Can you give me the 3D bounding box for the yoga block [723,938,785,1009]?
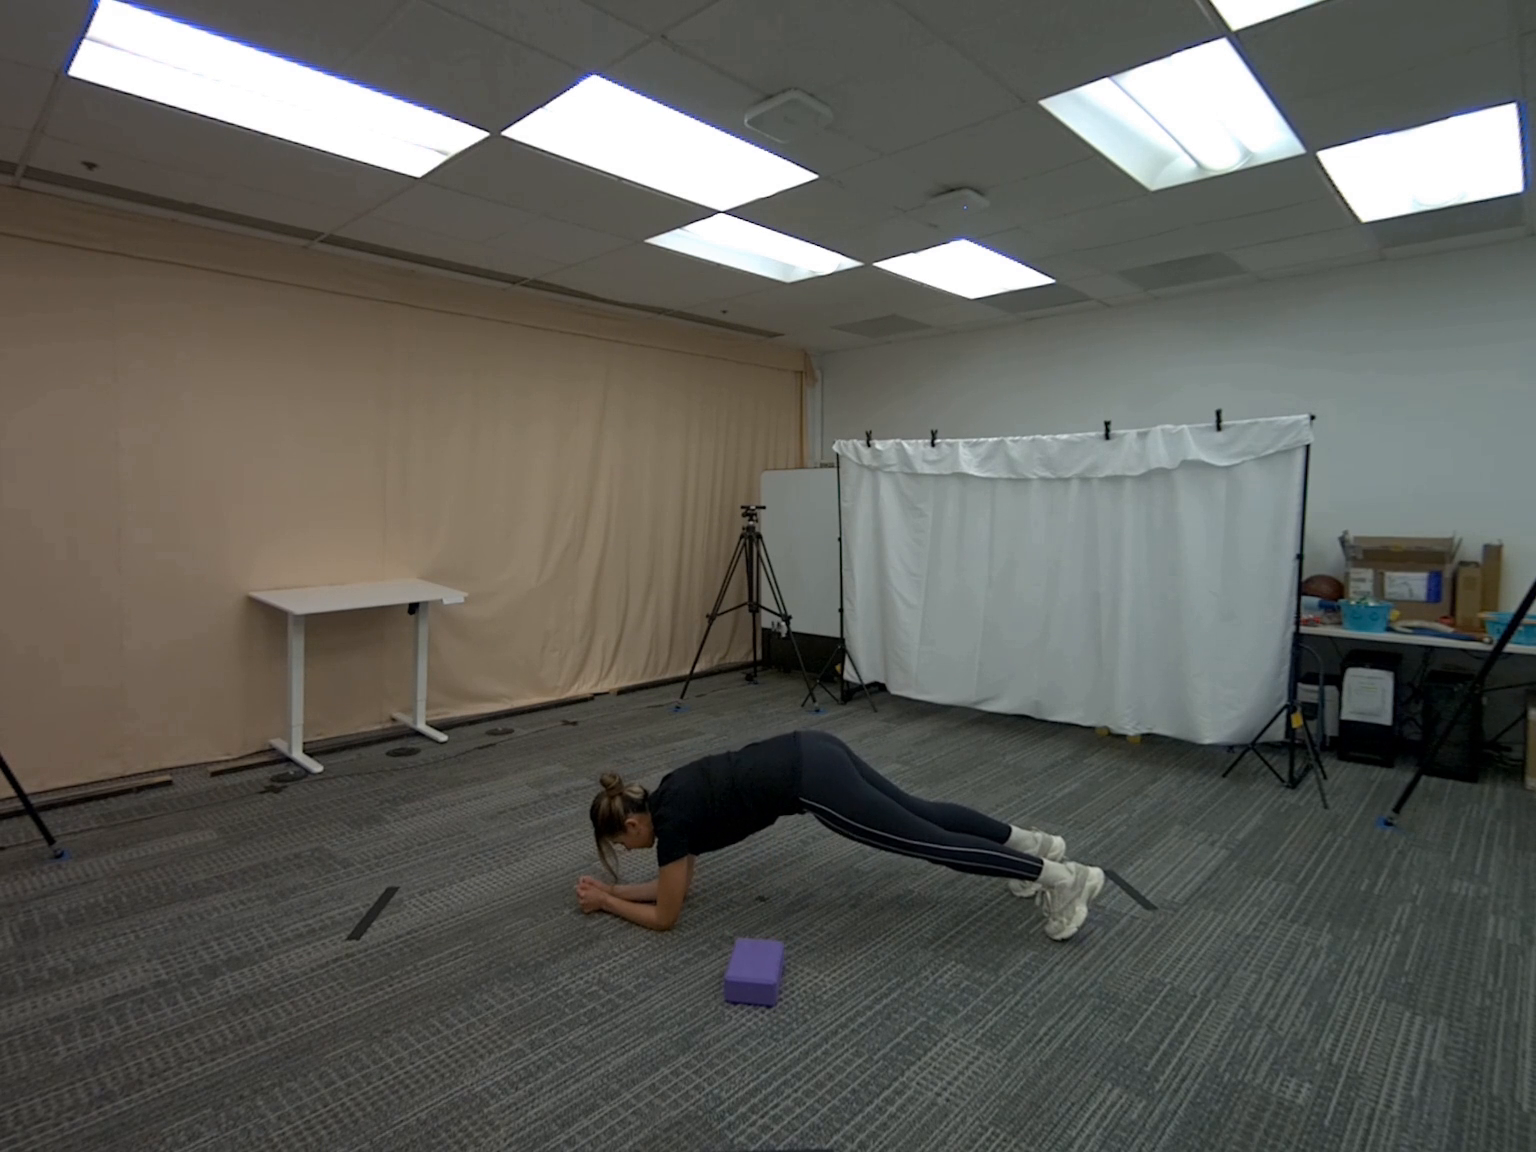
[{"bbox_3d":[-0.035,1.148,2.446,0.151,0.076,0.227,1,4,9],"label":"yoga block"}]
